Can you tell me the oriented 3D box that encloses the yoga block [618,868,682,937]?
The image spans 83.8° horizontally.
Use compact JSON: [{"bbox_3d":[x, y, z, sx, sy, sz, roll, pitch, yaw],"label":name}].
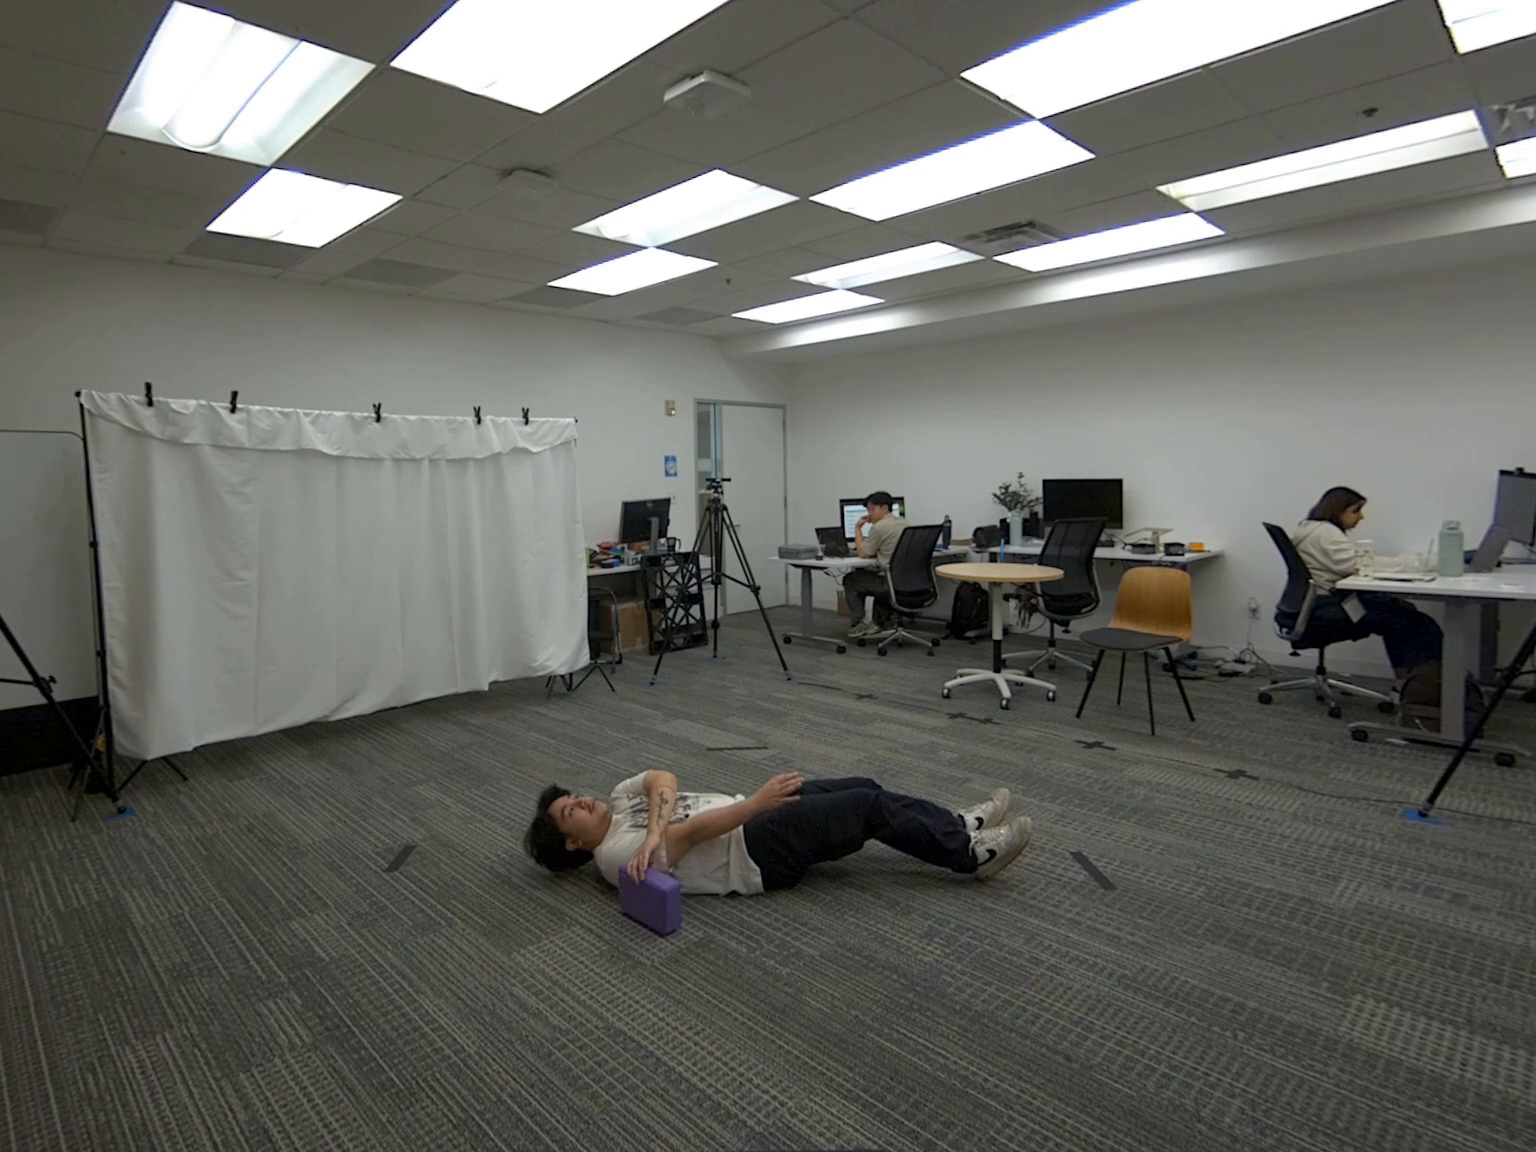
[{"bbox_3d":[-0.376,1.005,2.700,0.236,0.148,0.074,5,7,42],"label":"yoga block"}]
